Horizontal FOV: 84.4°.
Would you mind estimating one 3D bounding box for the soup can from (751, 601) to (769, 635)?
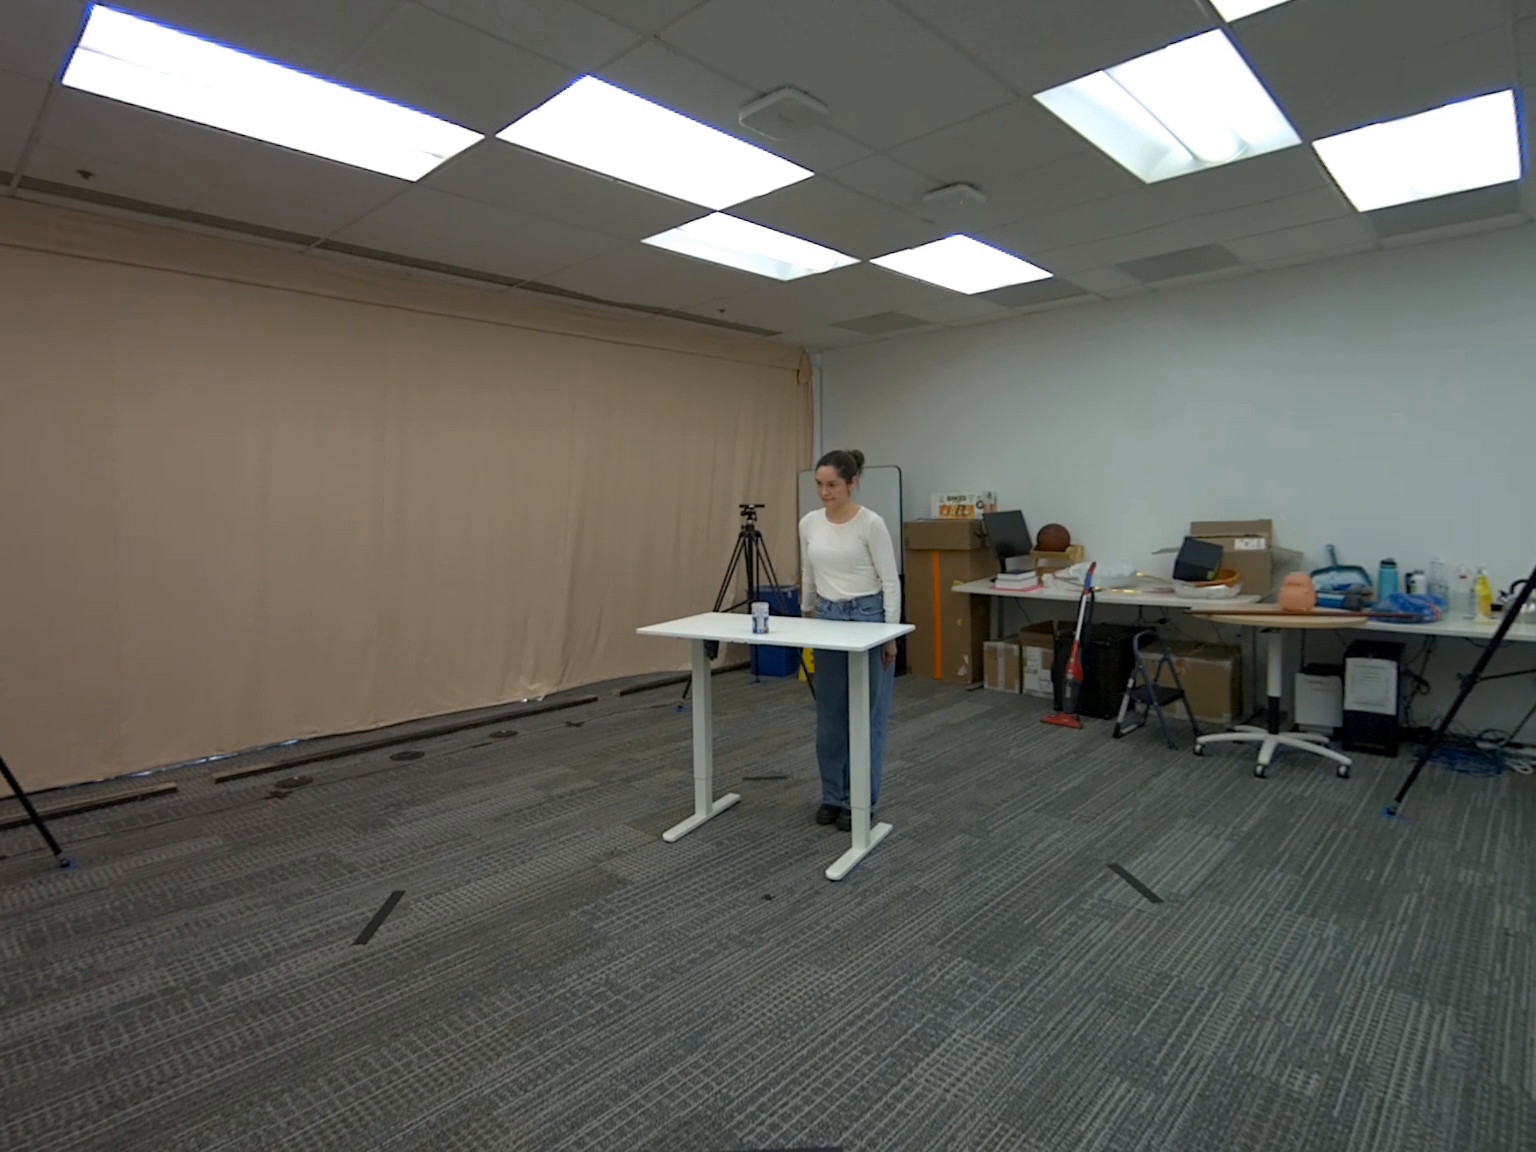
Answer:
[{"bbox_3d":[-0.030,0.168,3.351,0.067,0.121,0.067,-2,3,-2],"label":"soup can"}]
